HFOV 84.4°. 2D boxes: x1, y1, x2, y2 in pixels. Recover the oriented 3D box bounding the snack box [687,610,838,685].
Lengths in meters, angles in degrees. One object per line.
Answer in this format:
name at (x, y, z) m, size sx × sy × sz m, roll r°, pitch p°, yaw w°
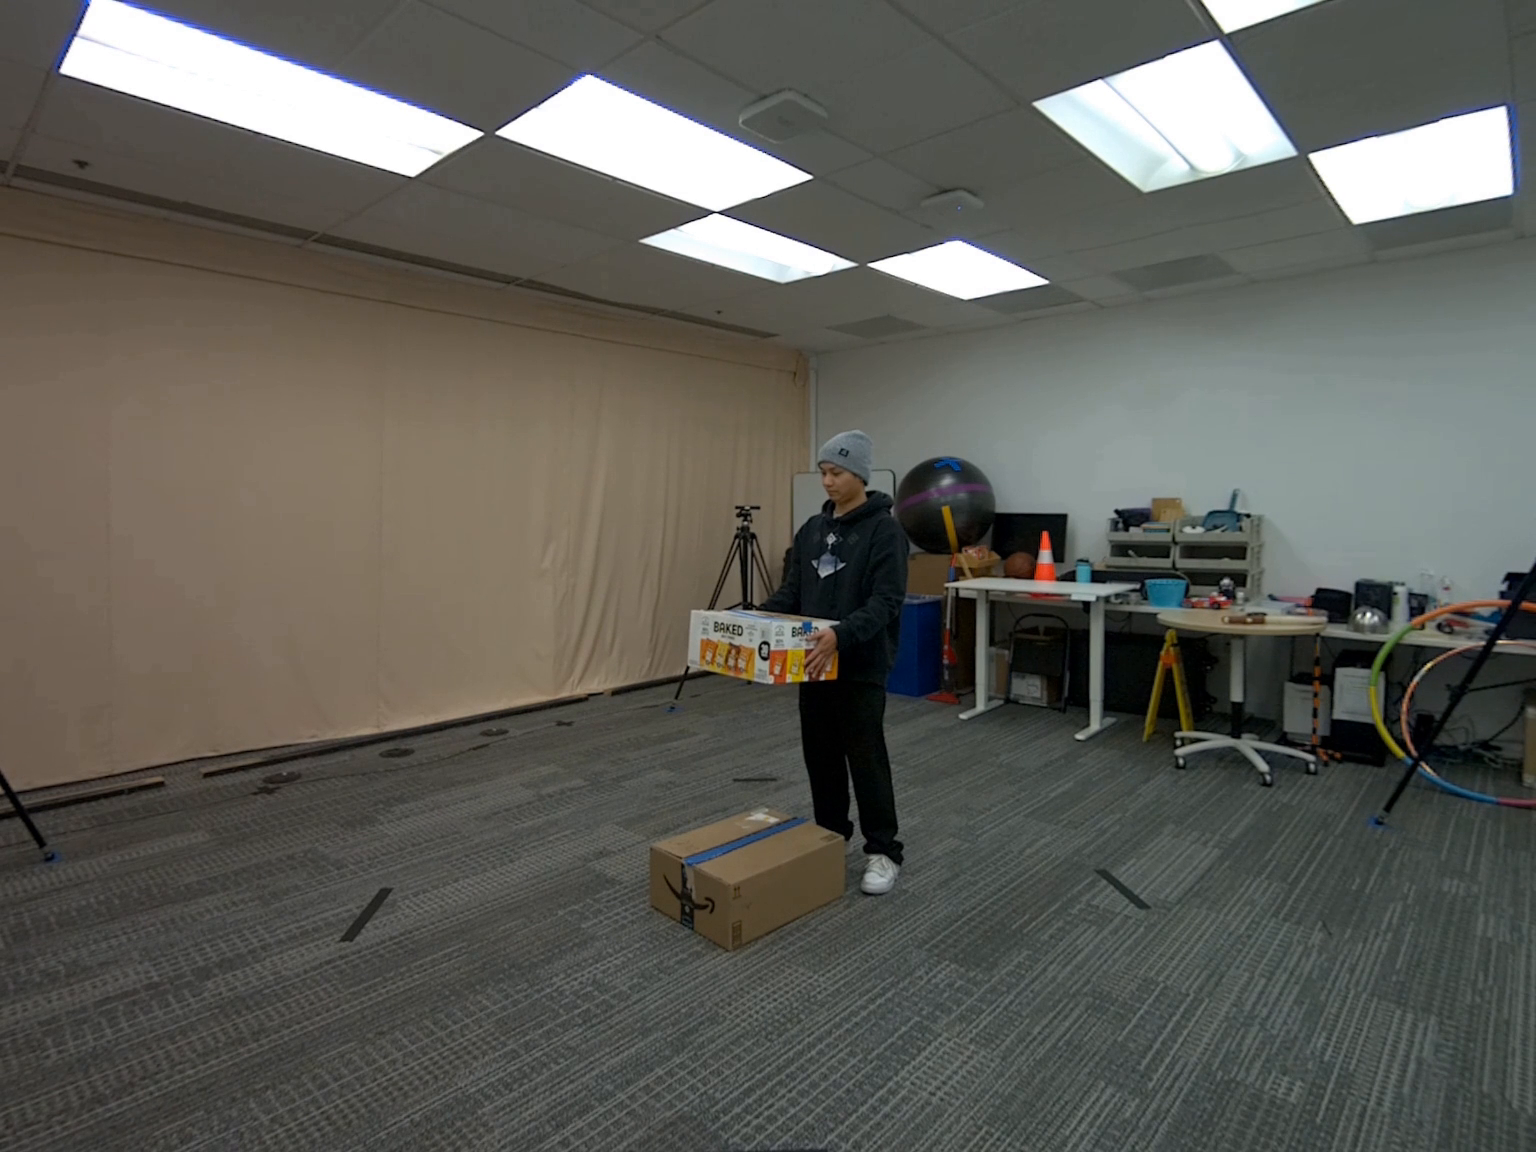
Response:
snack box at (-0.016, 0.242, 2.964) m, size 0.329 × 0.206 × 0.419 m, roll 4°, pitch 0°, yaw -43°
